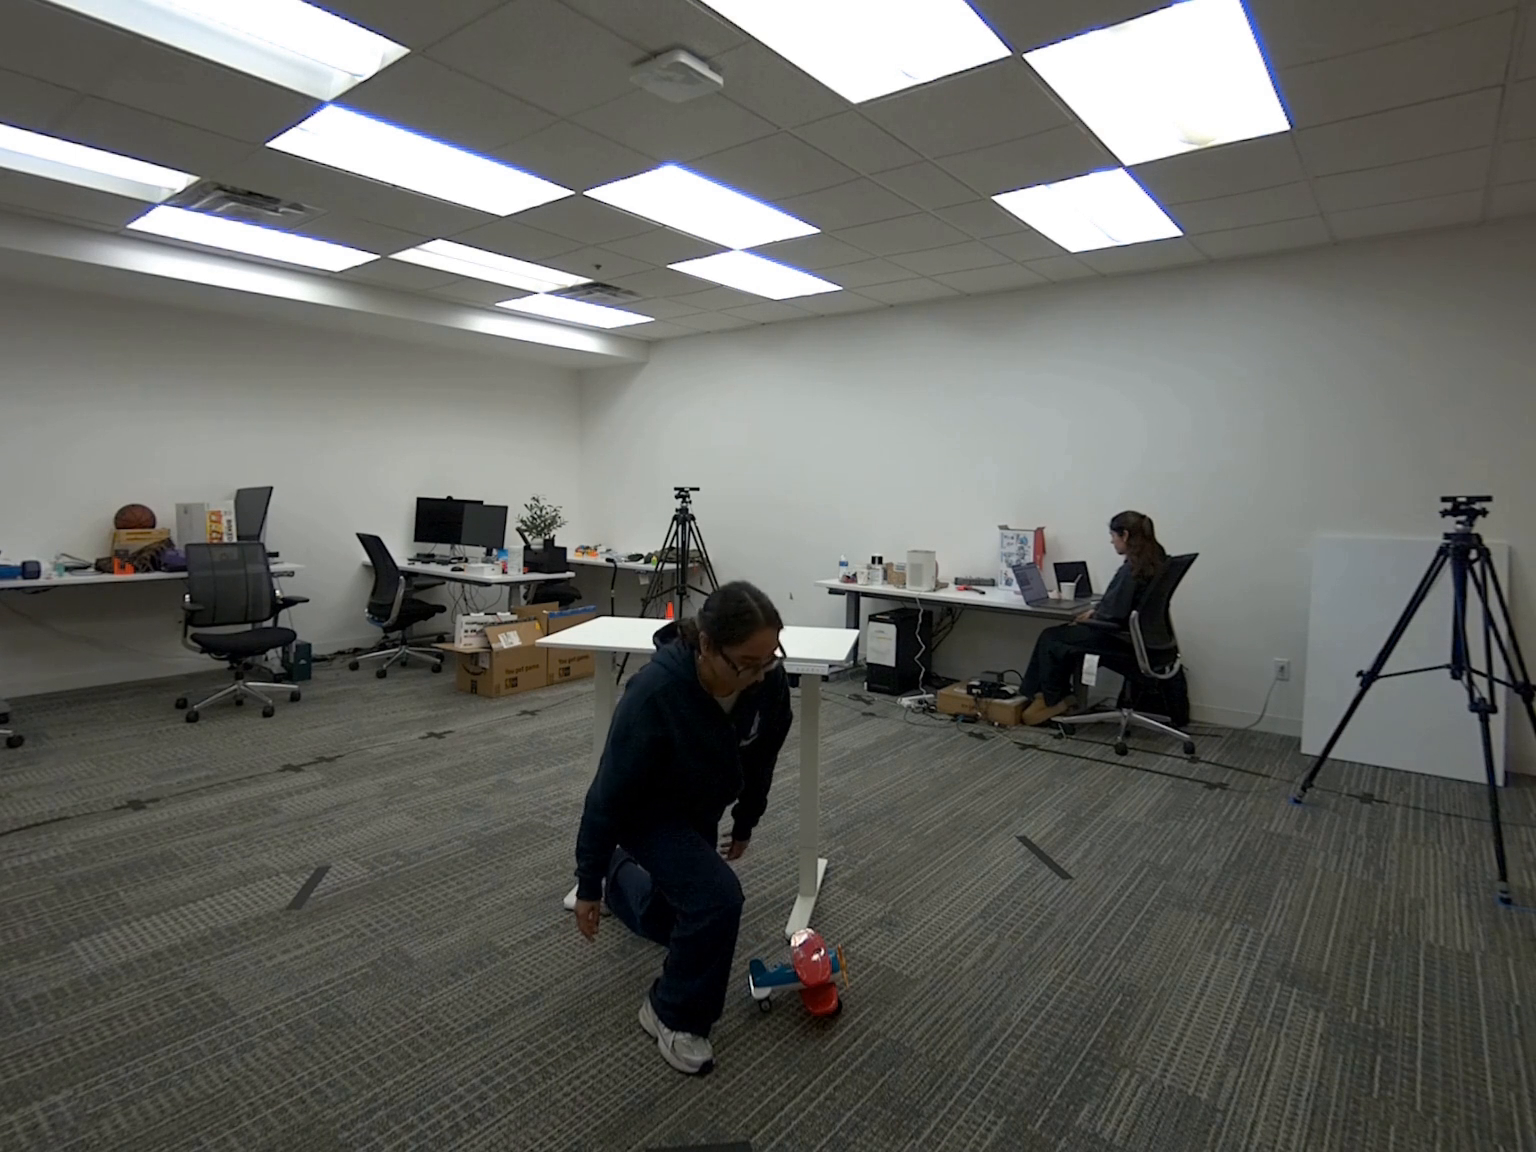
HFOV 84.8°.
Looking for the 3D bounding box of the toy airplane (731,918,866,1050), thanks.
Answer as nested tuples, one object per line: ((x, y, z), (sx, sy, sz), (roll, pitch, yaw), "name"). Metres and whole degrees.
((0.079, 1.086, 2.266), (0.252, 0.156, 0.259), (-3, 4, -37), "toy airplane")
